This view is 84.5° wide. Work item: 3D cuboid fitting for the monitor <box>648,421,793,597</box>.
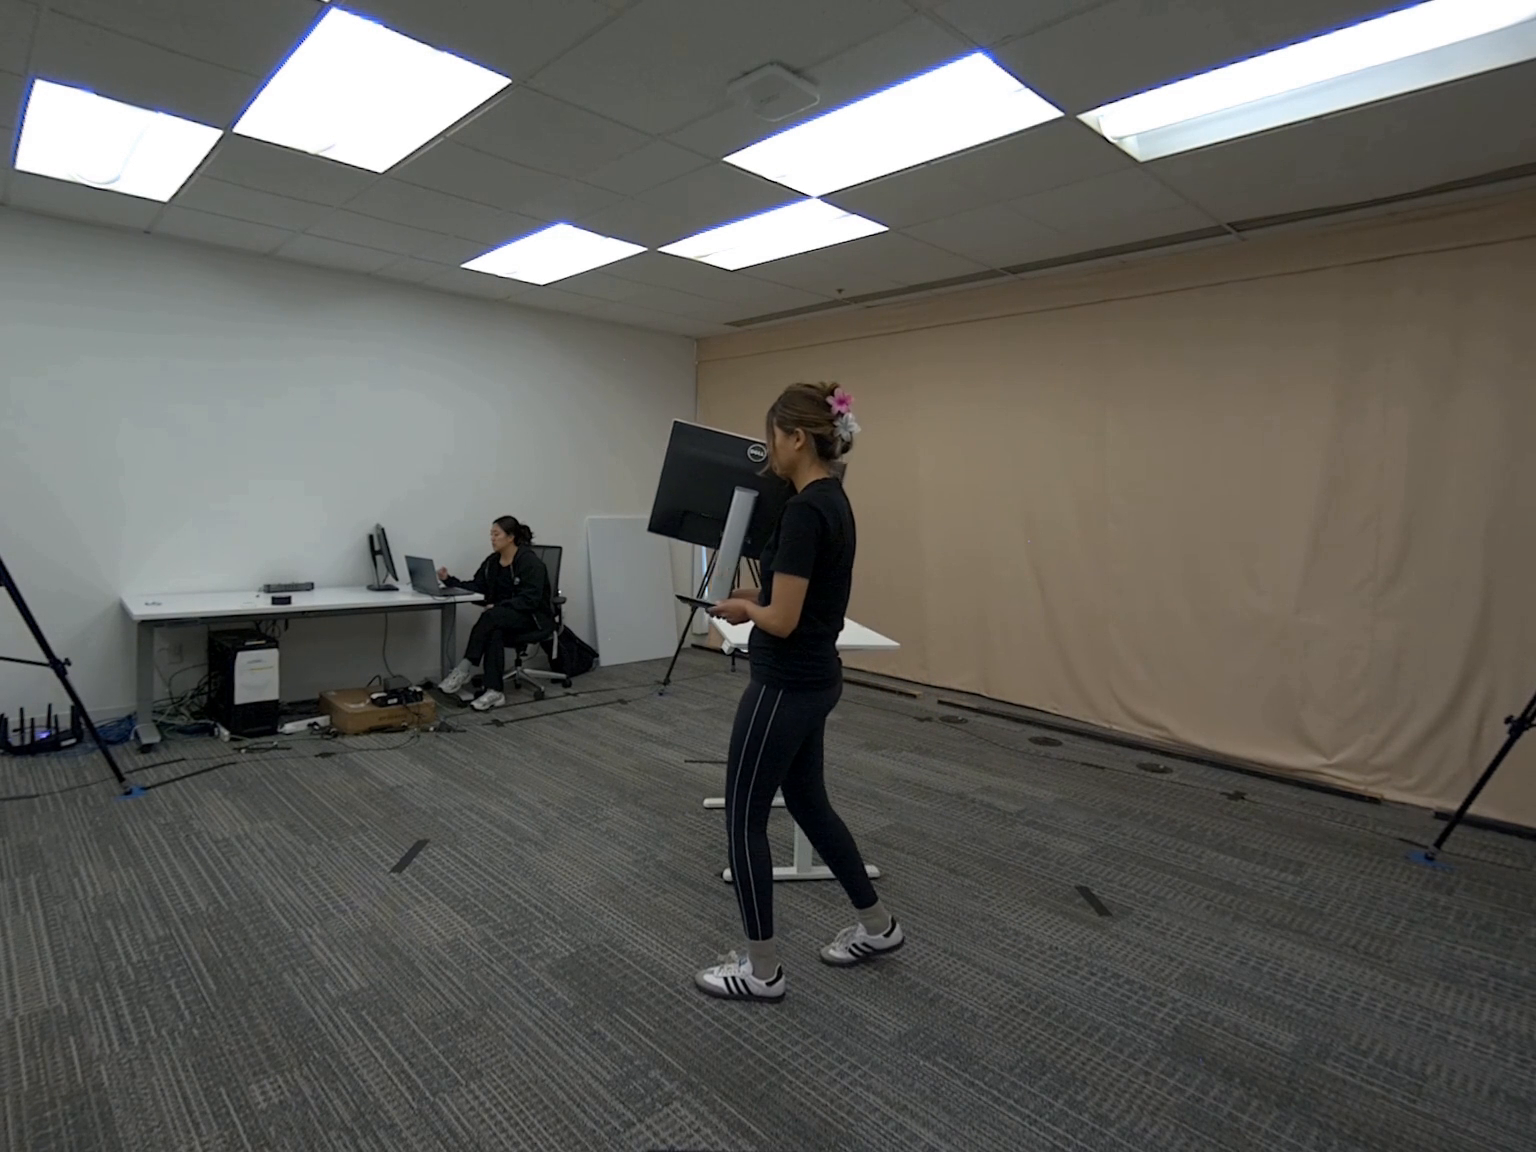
[{"bbox_3d":[-0.094,-0.155,2.570,0.539,0.524,0.187,15,-5,0],"label":"monitor"}]
